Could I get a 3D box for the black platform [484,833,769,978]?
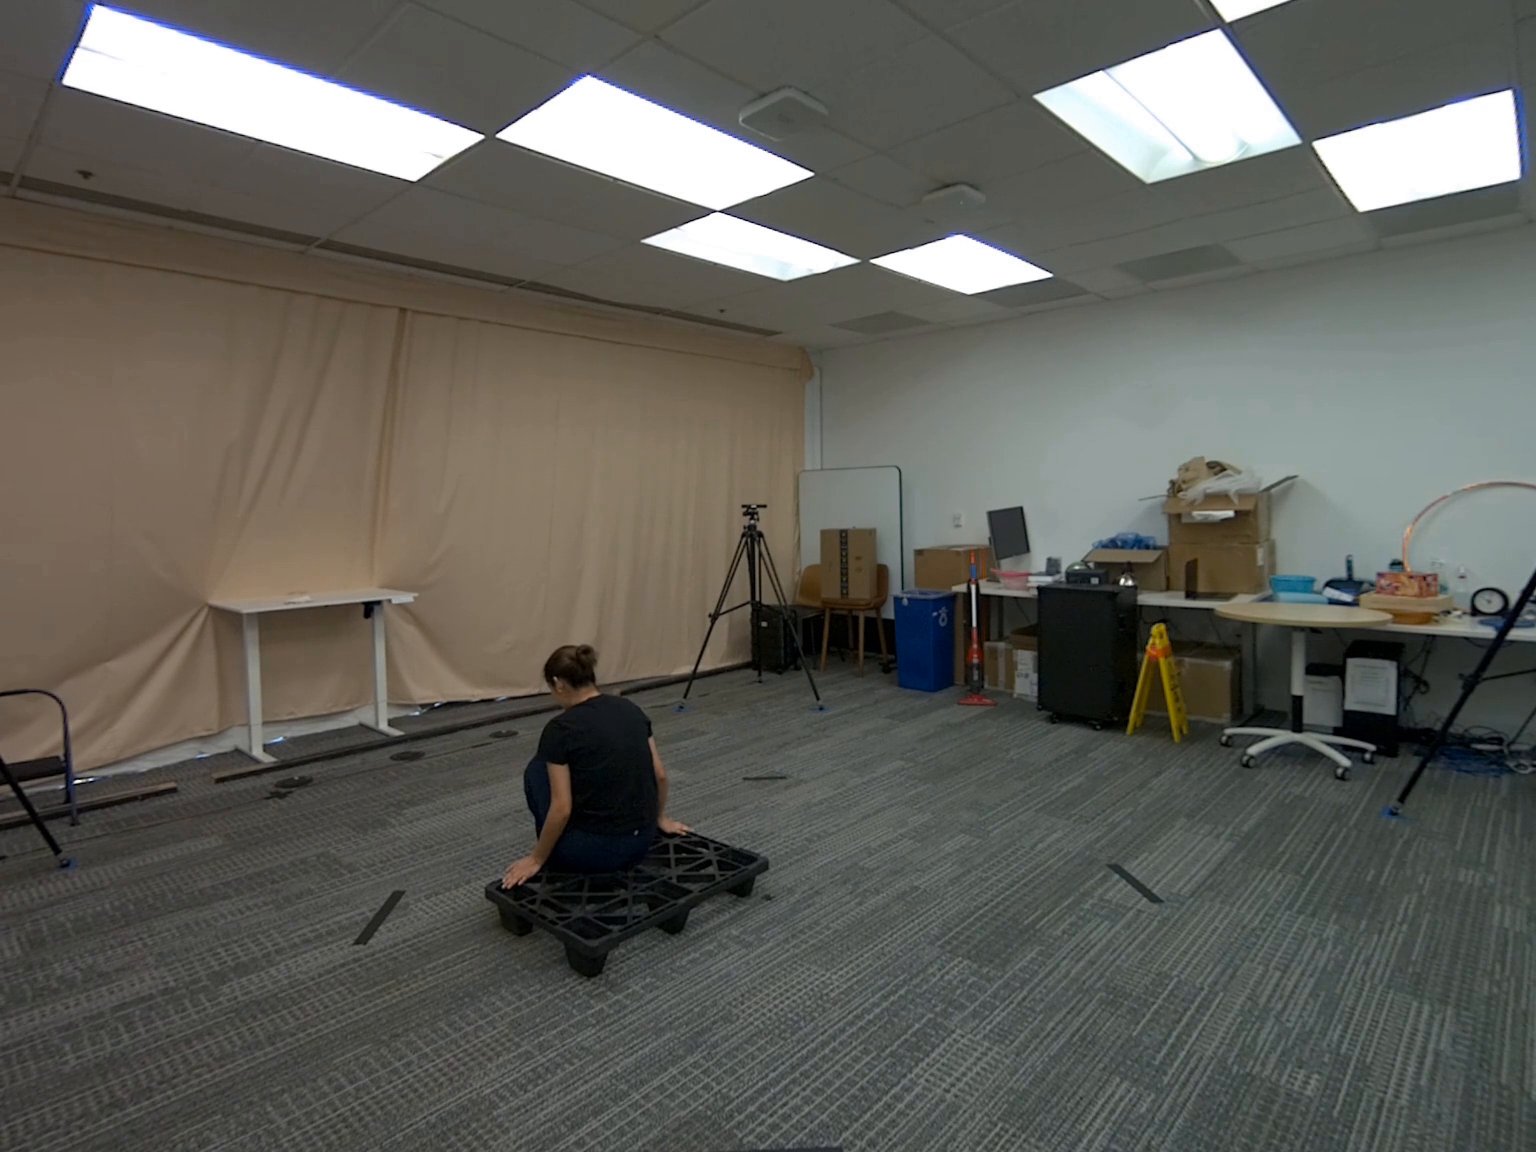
[{"bbox_3d":[-0.449,1.086,2.908,0.625,0.143,0.781,4,7,42],"label":"black platform"}]
